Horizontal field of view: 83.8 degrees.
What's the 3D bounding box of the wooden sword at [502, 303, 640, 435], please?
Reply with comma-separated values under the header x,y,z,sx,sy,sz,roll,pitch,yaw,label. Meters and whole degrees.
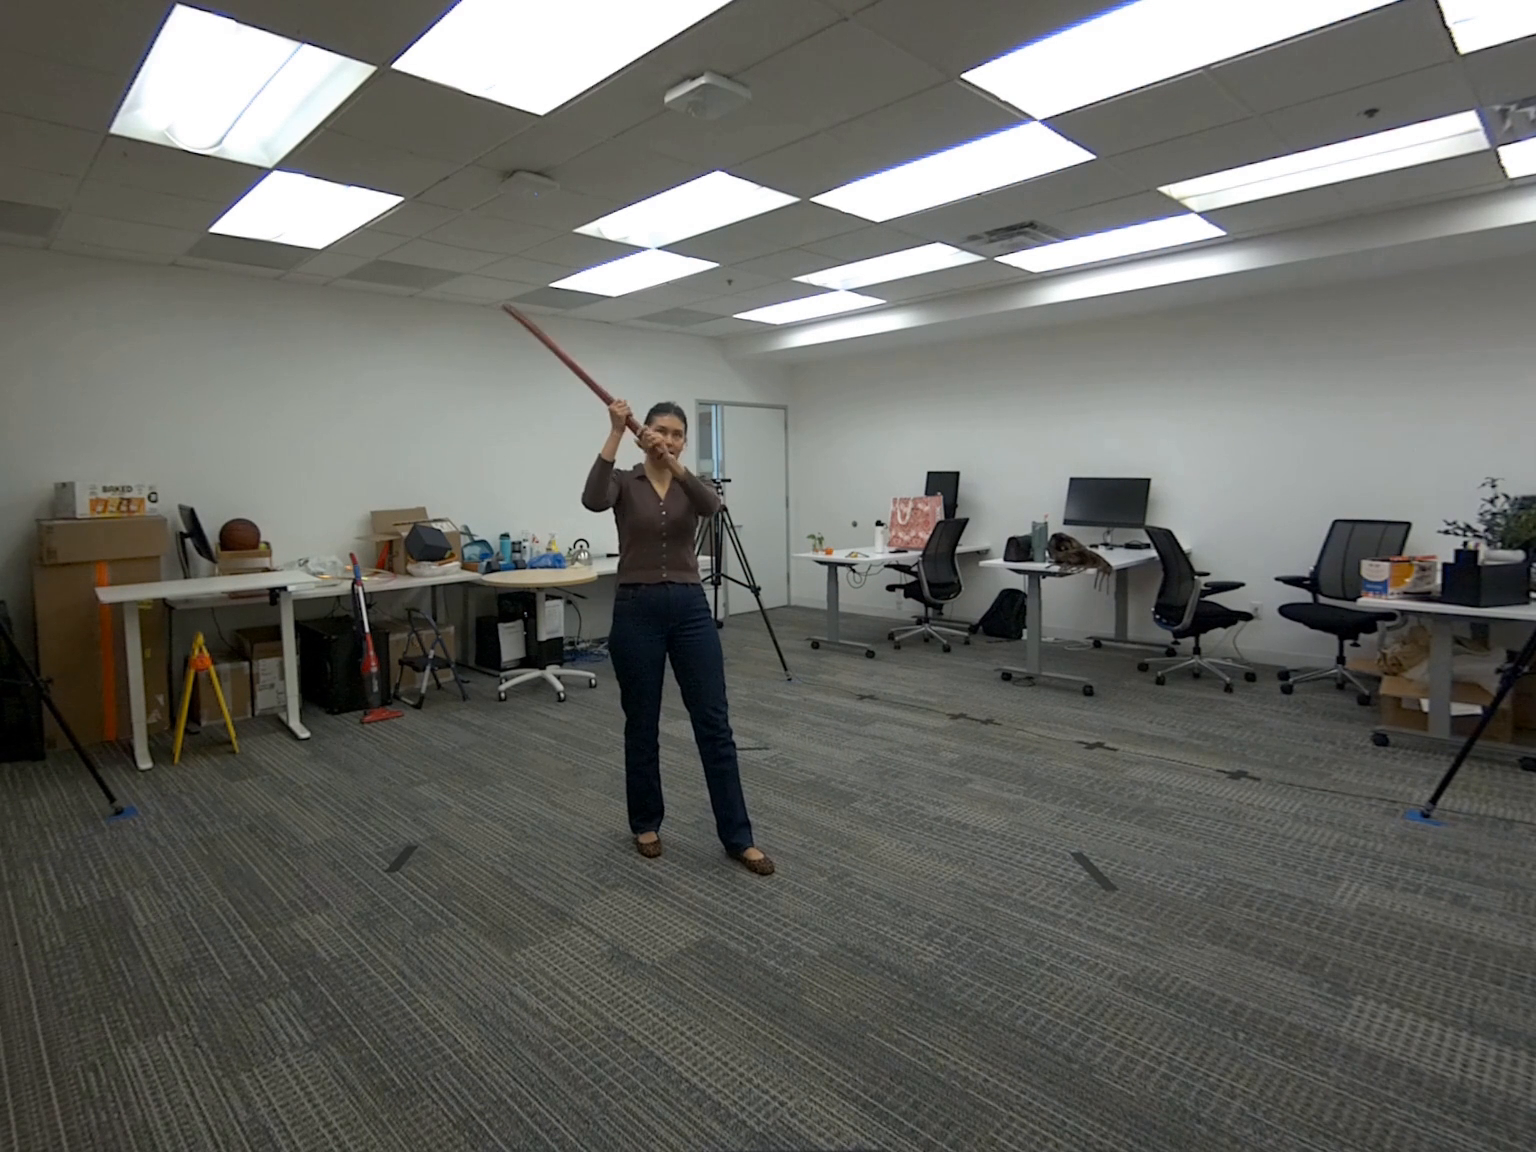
x,y,z,sx,sy,sz,roll,pitch,yaw,label
-0.669,-0.720,3.076,1.060,0.024,0.049,44,4,29,wooden sword
